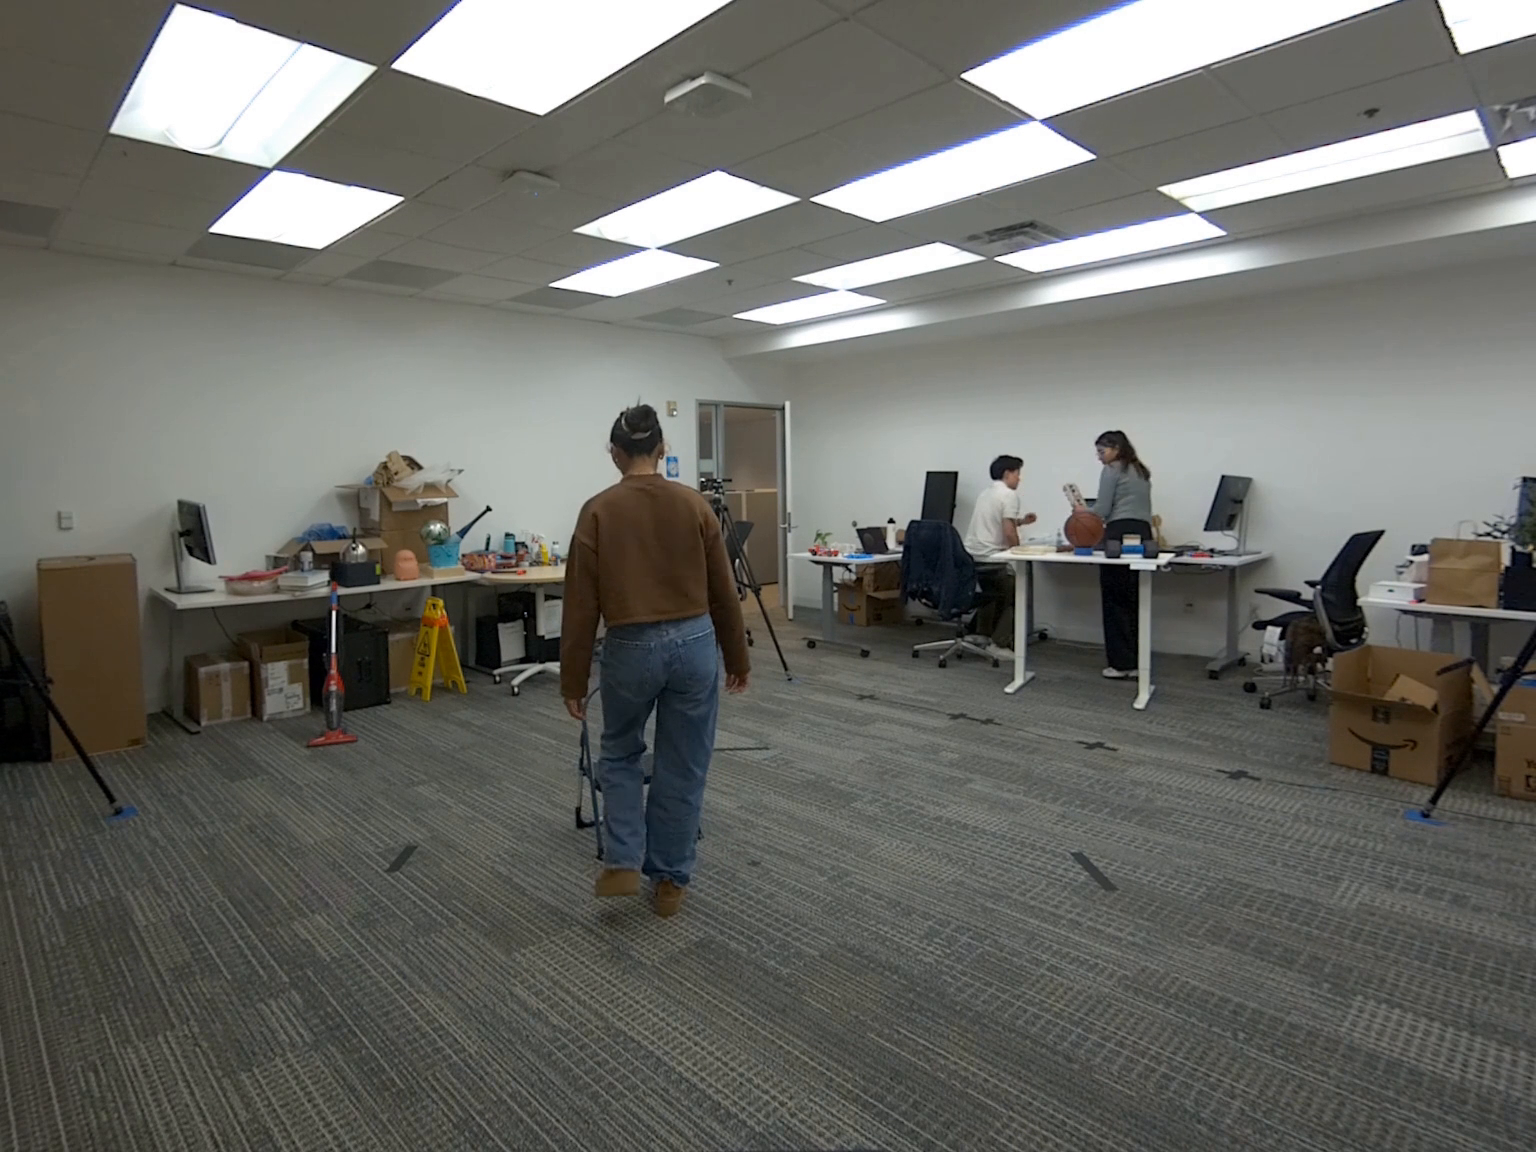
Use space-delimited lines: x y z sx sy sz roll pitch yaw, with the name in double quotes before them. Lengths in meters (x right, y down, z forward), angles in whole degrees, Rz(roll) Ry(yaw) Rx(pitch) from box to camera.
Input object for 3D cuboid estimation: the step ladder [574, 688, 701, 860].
"step ladder" -0.522 0.718 3.383 0.421 0.604 0.358 -3 5 -28
